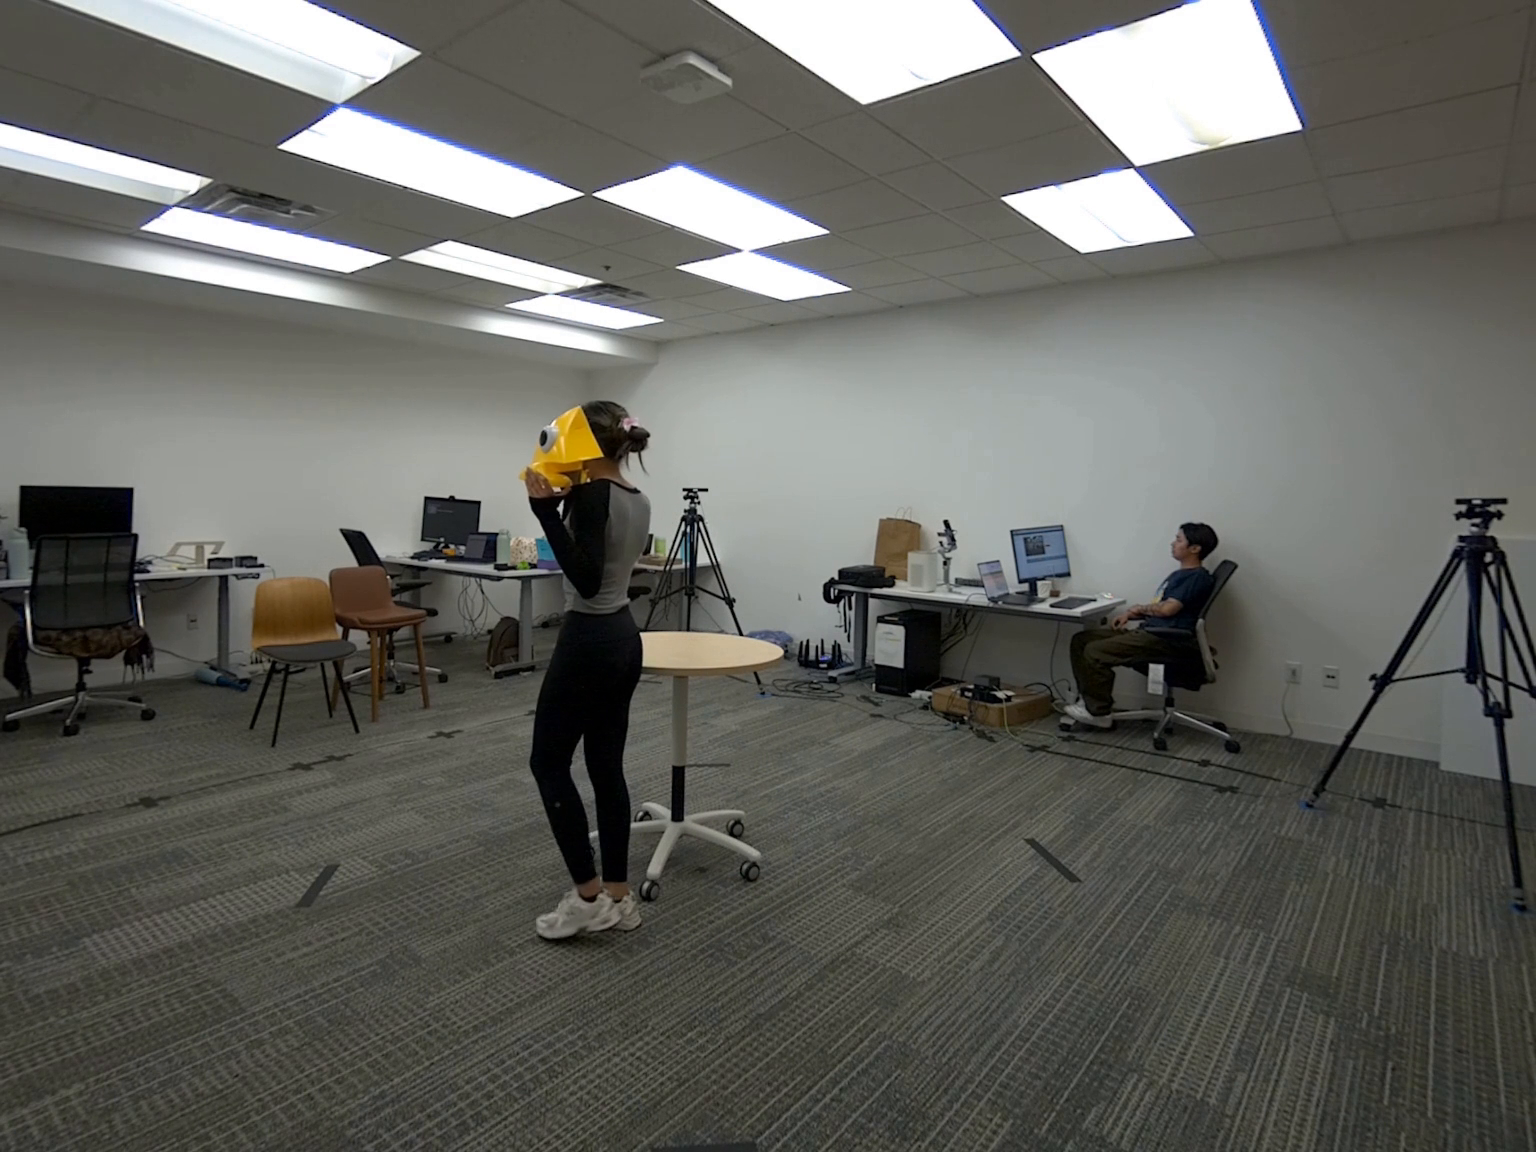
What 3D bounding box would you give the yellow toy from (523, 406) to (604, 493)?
[{"bbox_3d":[-0.620,-0.396,2.505,0.198,0.228,0.202,15,17,22],"label":"yellow toy"}]
